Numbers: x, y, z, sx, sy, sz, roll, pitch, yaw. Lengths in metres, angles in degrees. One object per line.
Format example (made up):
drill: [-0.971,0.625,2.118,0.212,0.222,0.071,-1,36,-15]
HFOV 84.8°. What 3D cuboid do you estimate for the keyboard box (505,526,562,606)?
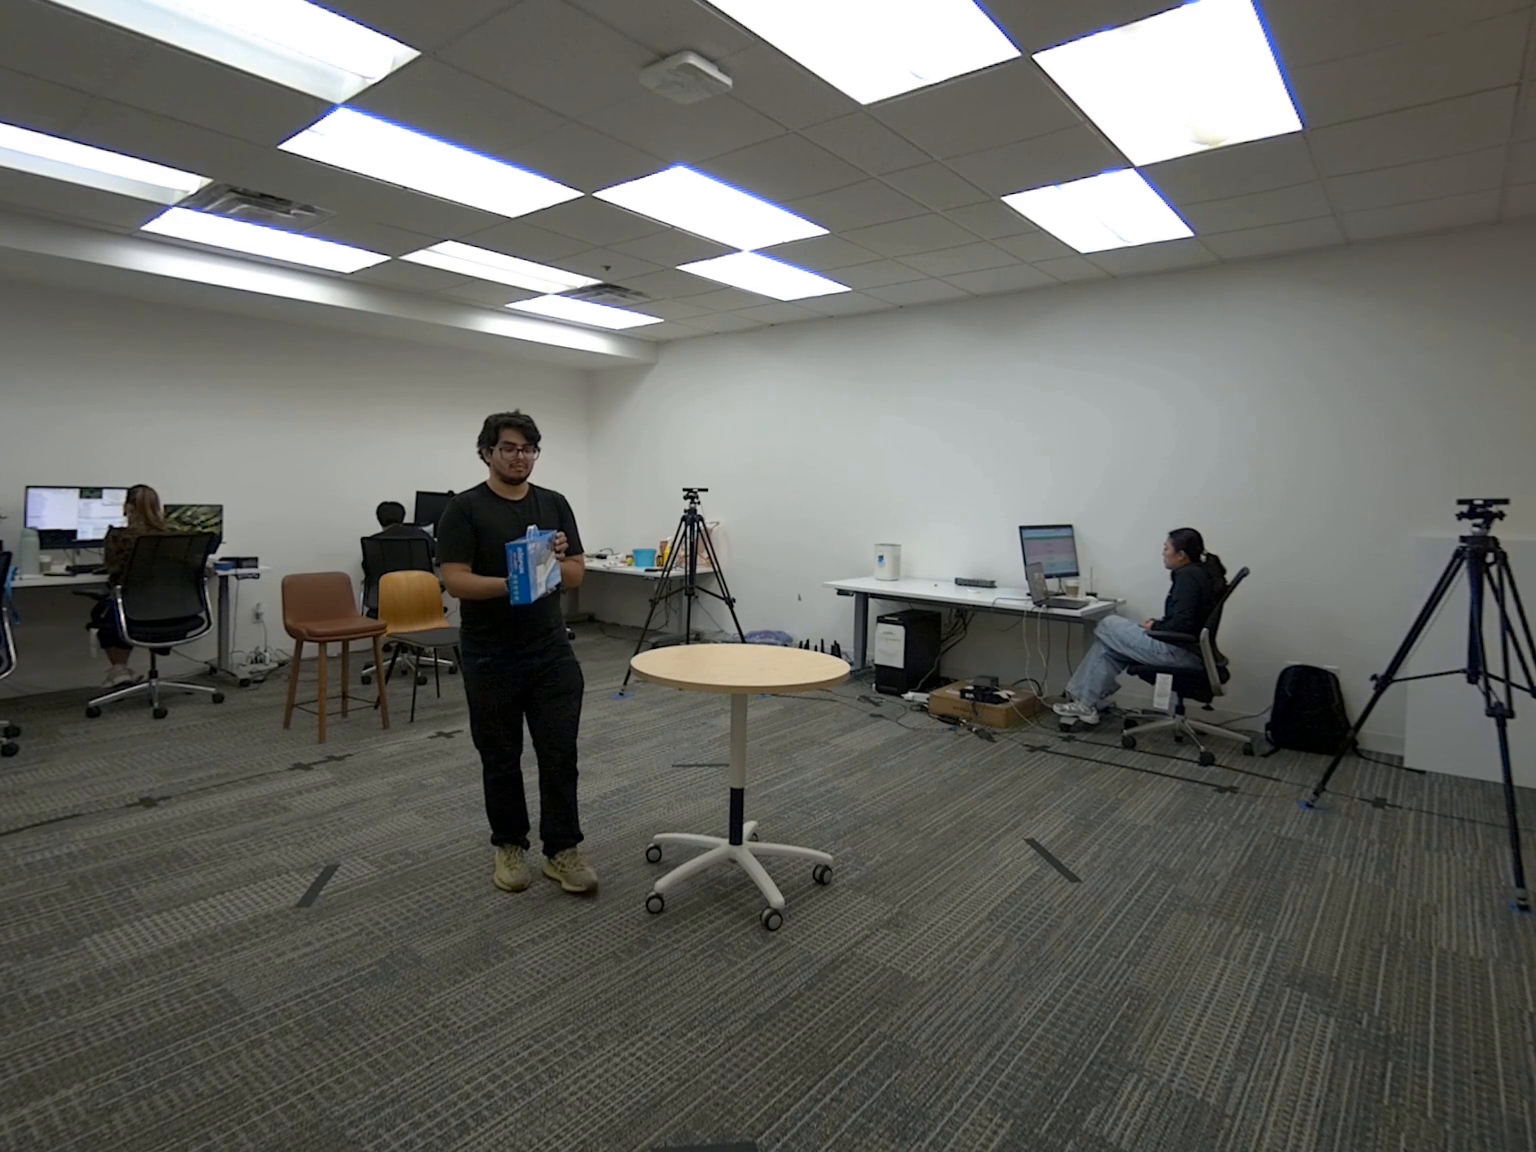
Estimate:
keyboard box: [-0.709,-0.031,2.554,0.059,0.175,0.440,-4,6,-4]
